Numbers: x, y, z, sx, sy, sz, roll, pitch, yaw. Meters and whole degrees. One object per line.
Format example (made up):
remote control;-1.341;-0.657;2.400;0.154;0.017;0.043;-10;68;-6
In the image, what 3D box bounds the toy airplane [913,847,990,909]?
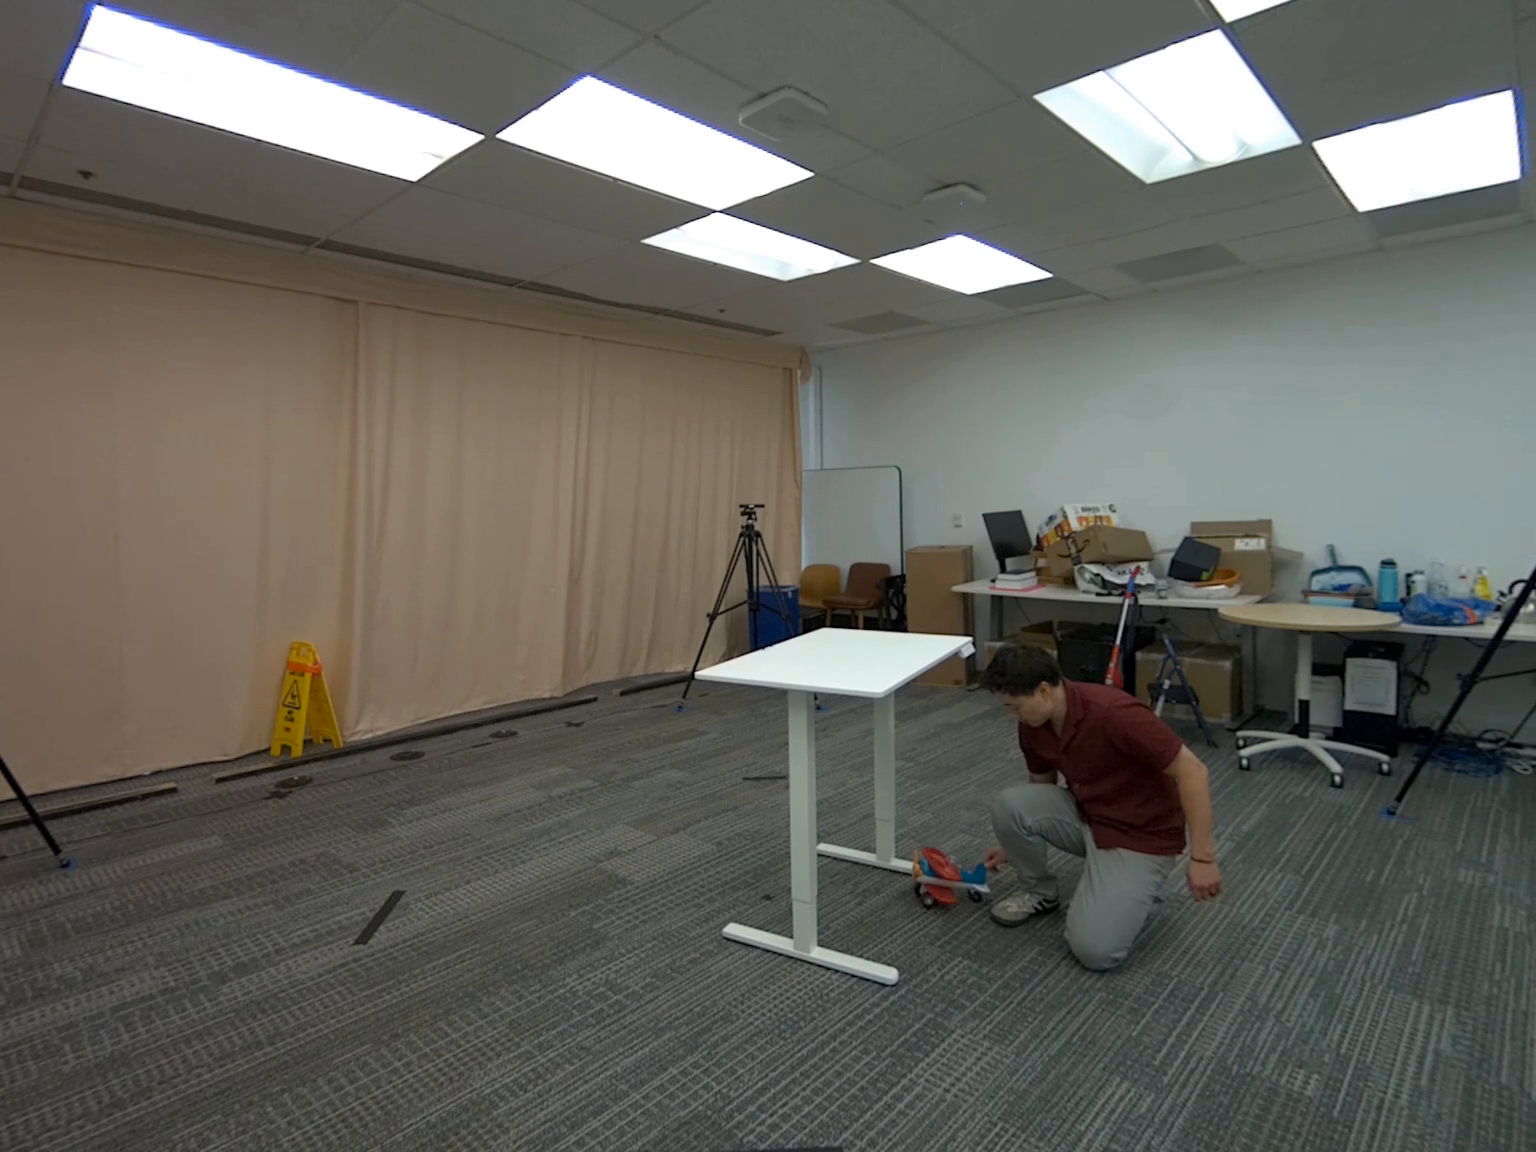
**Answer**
toy airplane;0.628;1.055;2.953;0.252;0.156;0.259;-4;6;-32
